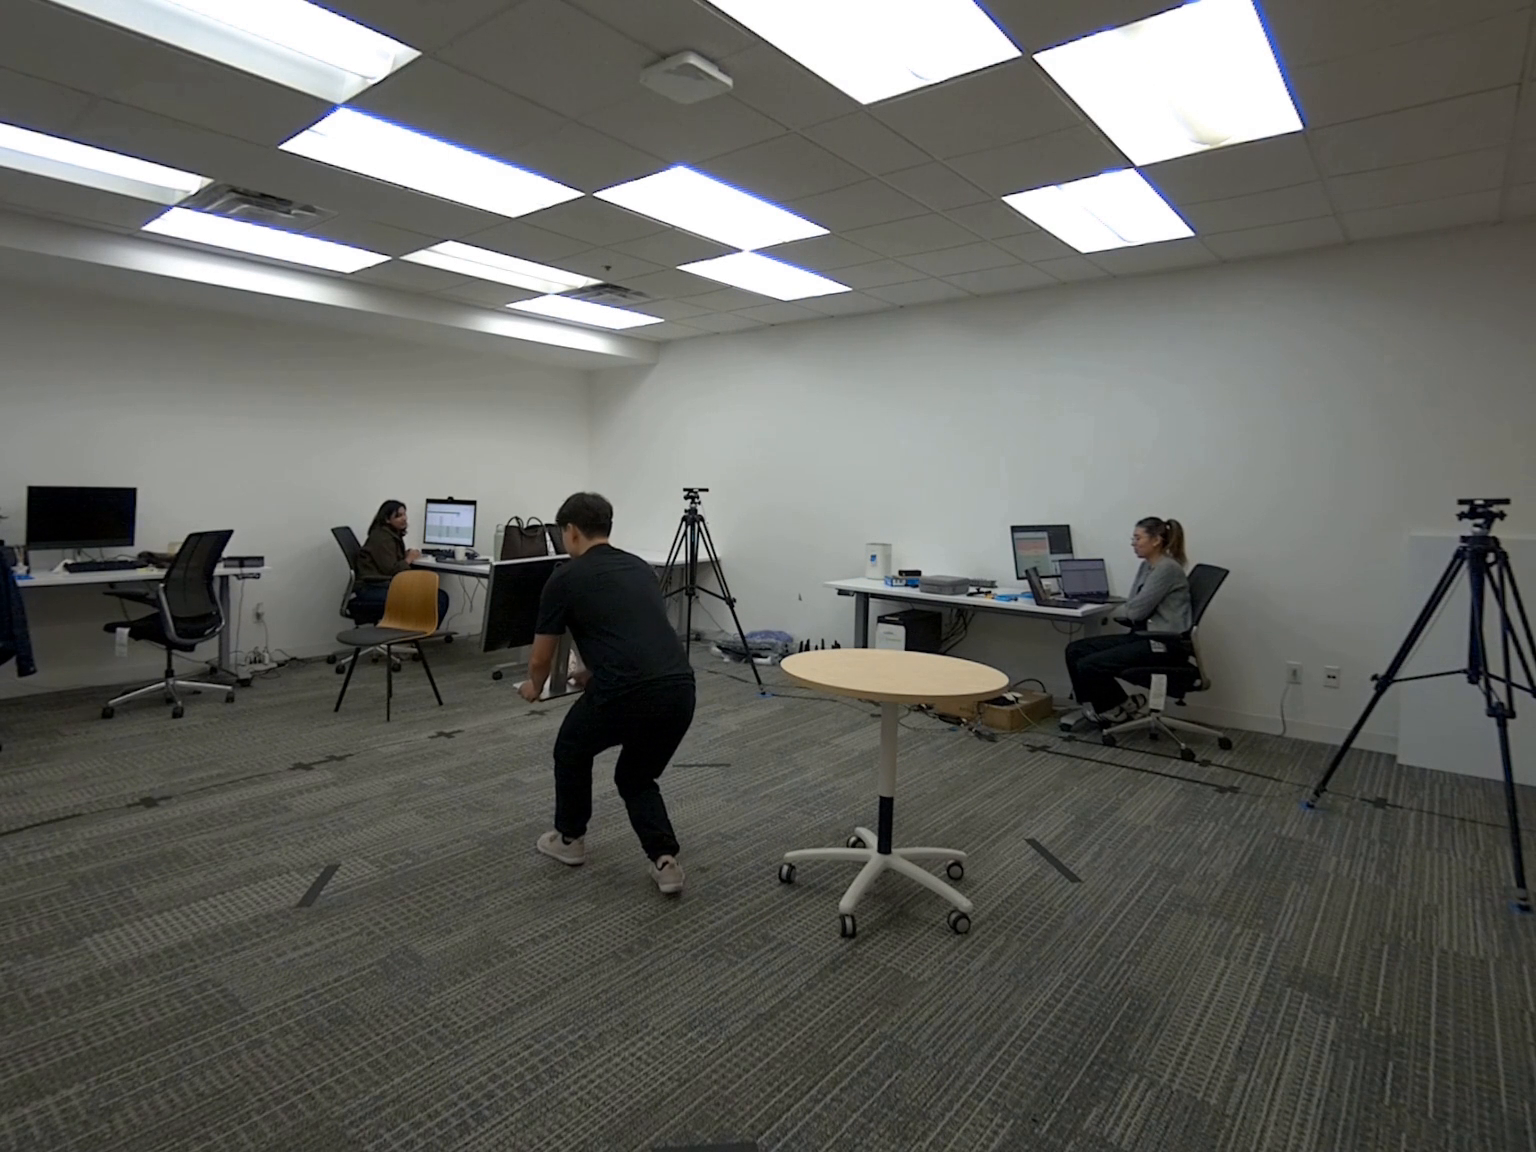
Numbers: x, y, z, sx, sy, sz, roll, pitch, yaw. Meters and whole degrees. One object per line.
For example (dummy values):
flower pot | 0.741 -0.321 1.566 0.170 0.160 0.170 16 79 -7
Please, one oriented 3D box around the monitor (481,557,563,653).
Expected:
monitor | -0.855 0.185 3.341 0.194 0.518 0.524 11 13 41
